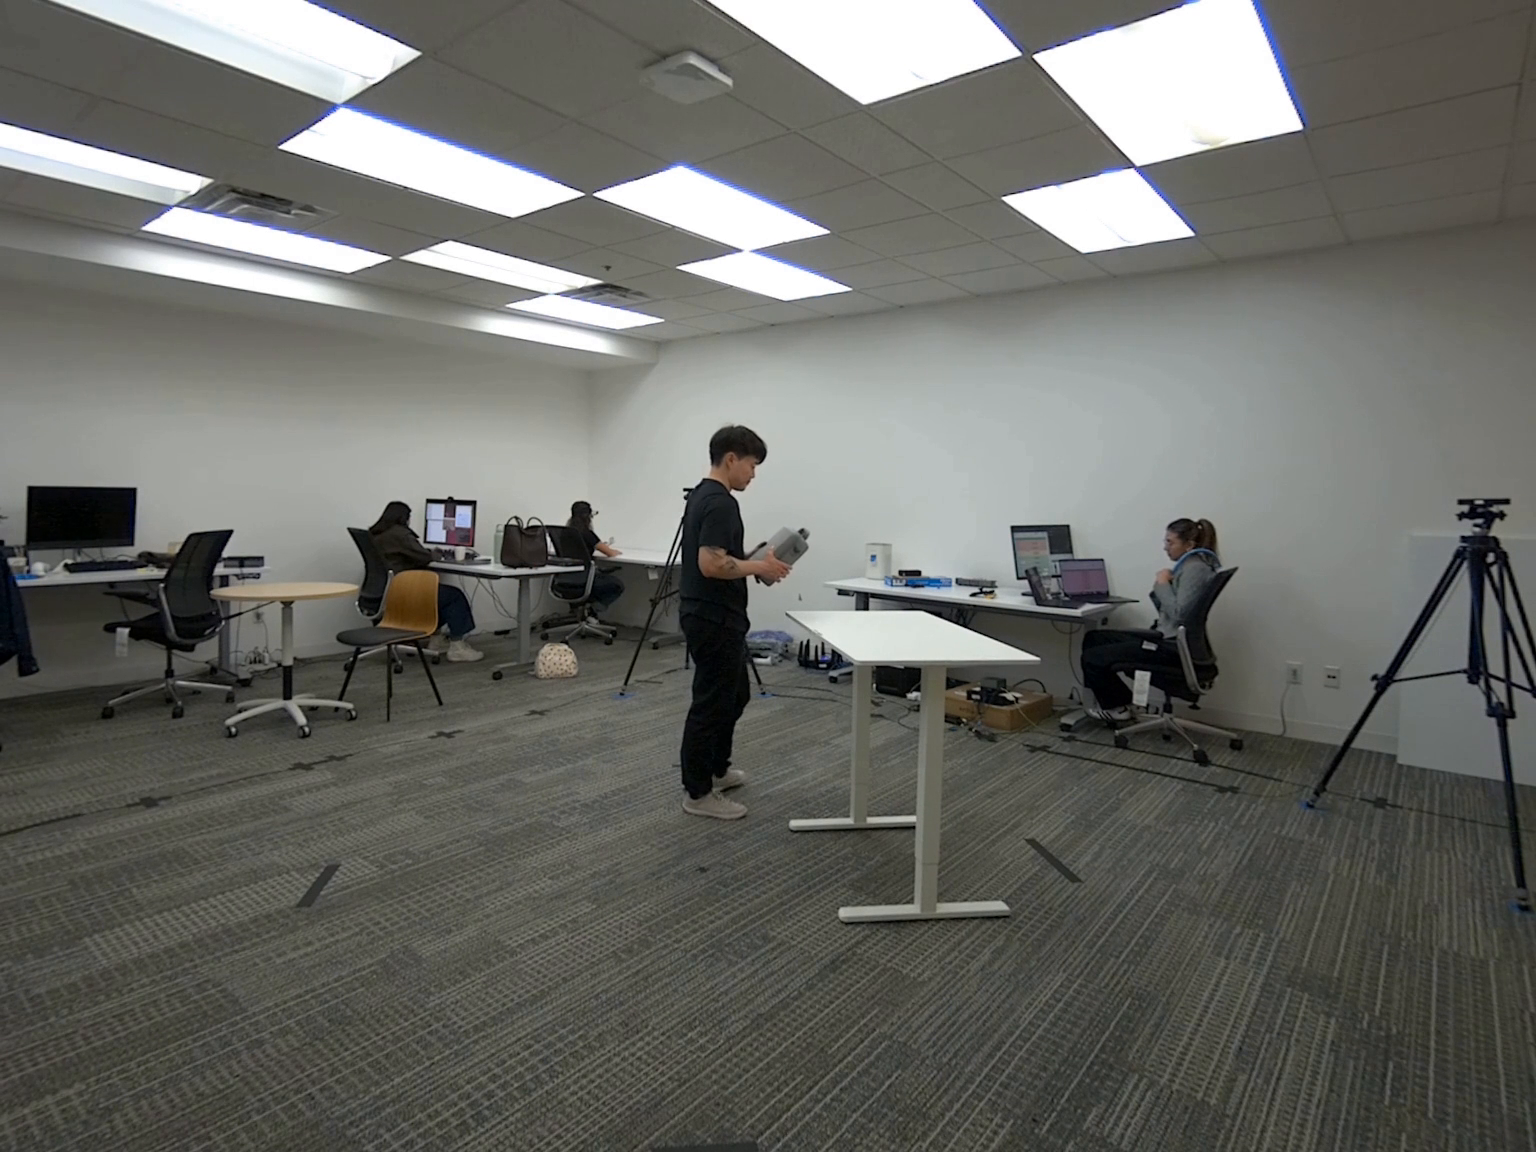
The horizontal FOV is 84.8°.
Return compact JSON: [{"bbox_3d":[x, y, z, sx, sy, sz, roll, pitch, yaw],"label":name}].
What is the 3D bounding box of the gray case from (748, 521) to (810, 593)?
[{"bbox_3d":[0.030,-0.089,3.622,0.103,0.261,0.261,45,5,-13],"label":"gray case"}]
